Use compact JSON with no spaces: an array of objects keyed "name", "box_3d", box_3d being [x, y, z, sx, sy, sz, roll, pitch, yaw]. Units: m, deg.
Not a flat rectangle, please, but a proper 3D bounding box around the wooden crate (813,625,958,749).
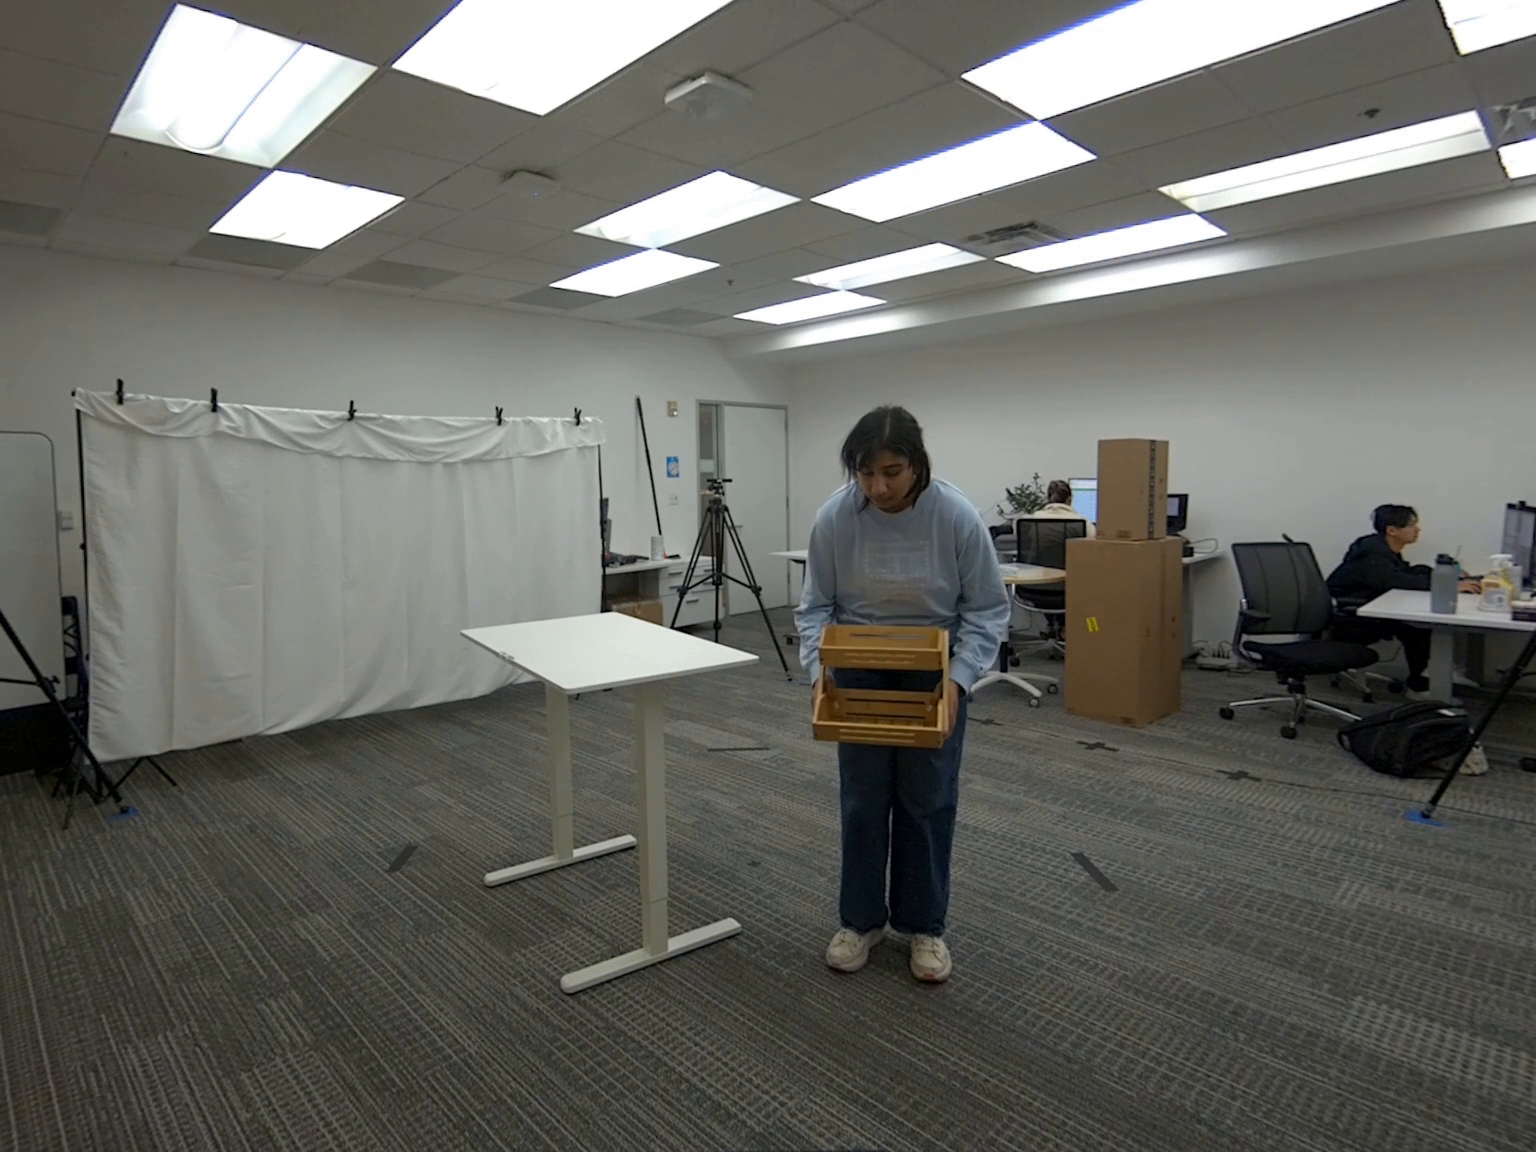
[{"name":"wooden crate","box_3d":[0.300,0.266,2.150,0.328,0.274,0.298,-3,-1,13]}]
